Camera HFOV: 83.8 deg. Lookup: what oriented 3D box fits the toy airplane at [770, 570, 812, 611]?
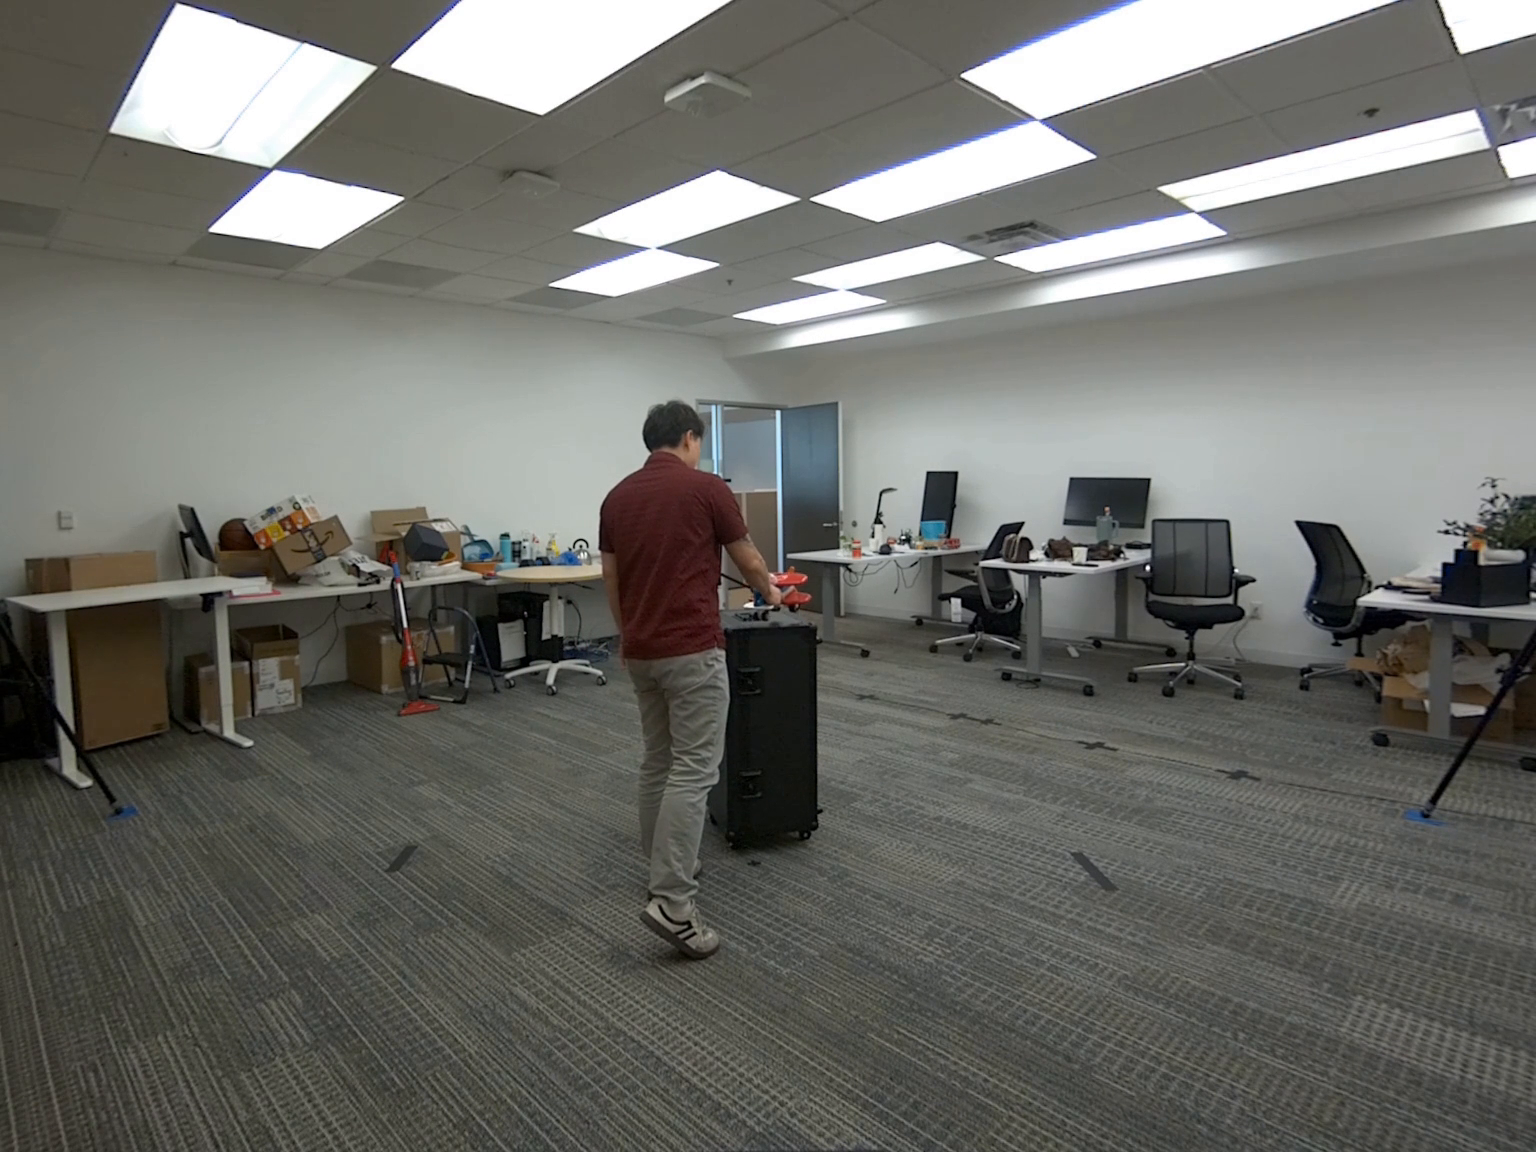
[{"bbox_3d":[0.036,0.071,3.206,0.252,0.155,0.259,-3,7,4],"label":"toy airplane"}]
